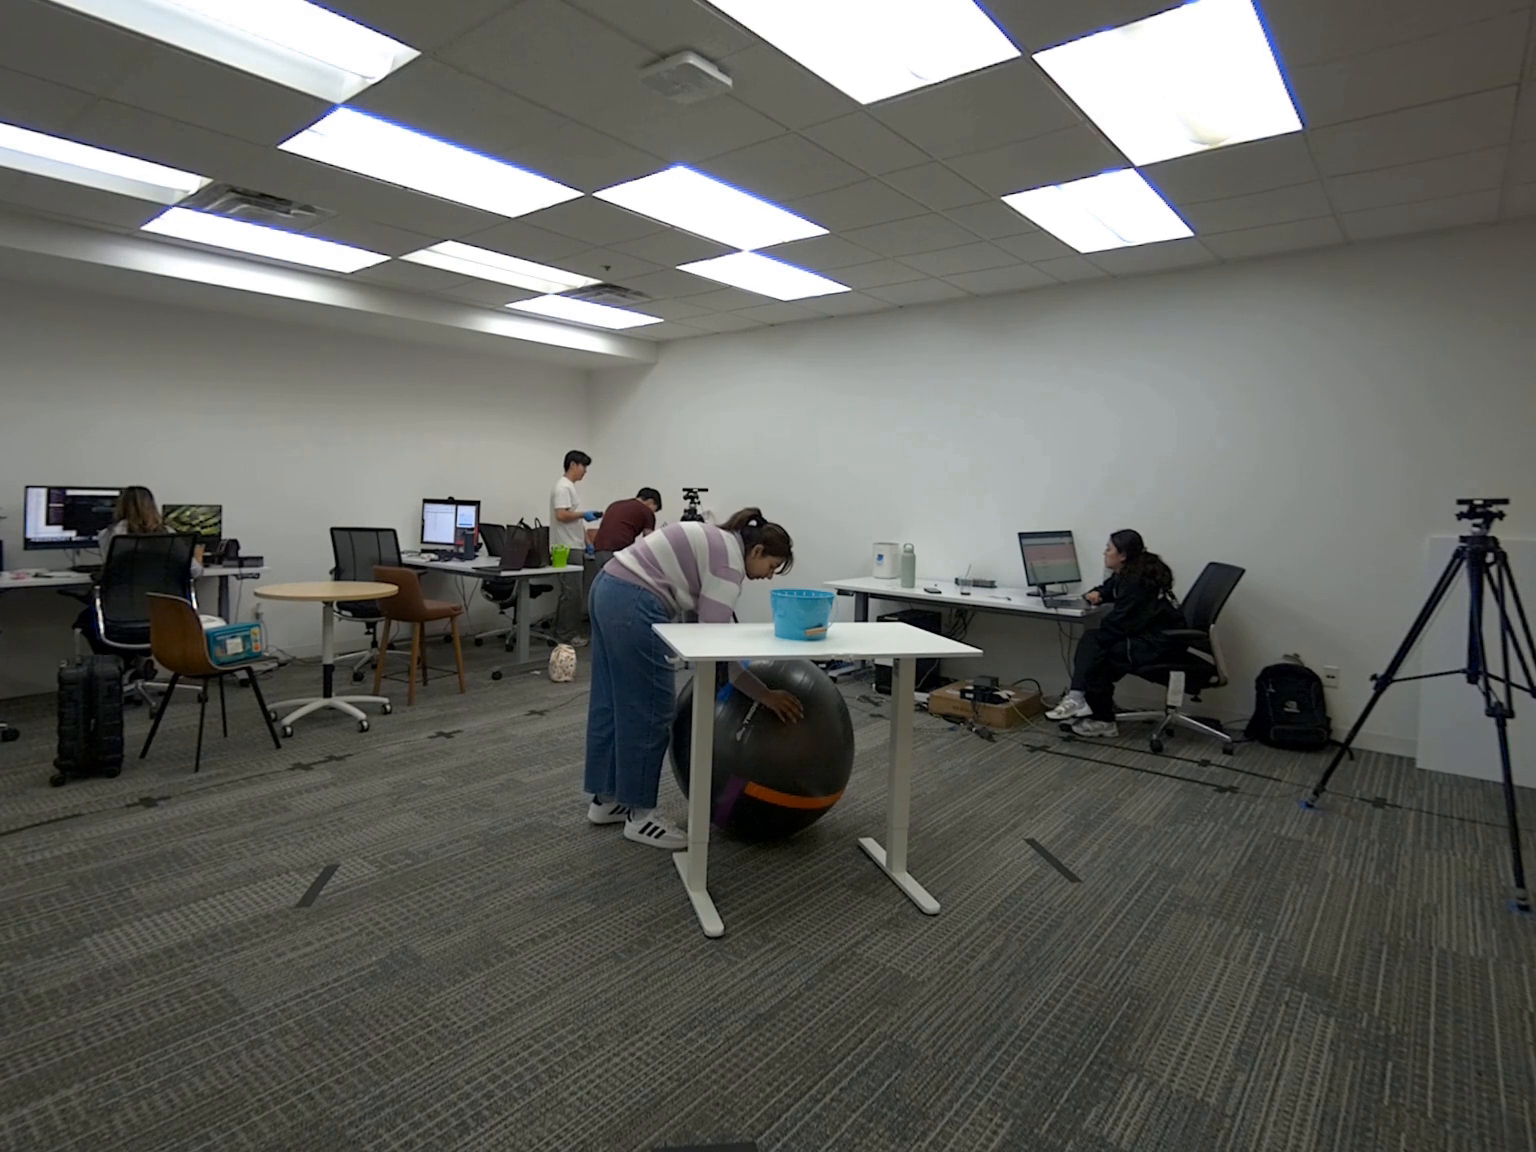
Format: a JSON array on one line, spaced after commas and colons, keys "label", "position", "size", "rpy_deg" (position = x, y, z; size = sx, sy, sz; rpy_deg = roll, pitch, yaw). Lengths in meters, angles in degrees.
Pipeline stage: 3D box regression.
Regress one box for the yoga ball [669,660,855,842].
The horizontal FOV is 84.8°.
[{"label": "yoga ball", "position": [-0.036, 0.674, 3.480], "size": [0.757, 0.755, 0.762], "rpy_deg": [1, 4, -2]}]
